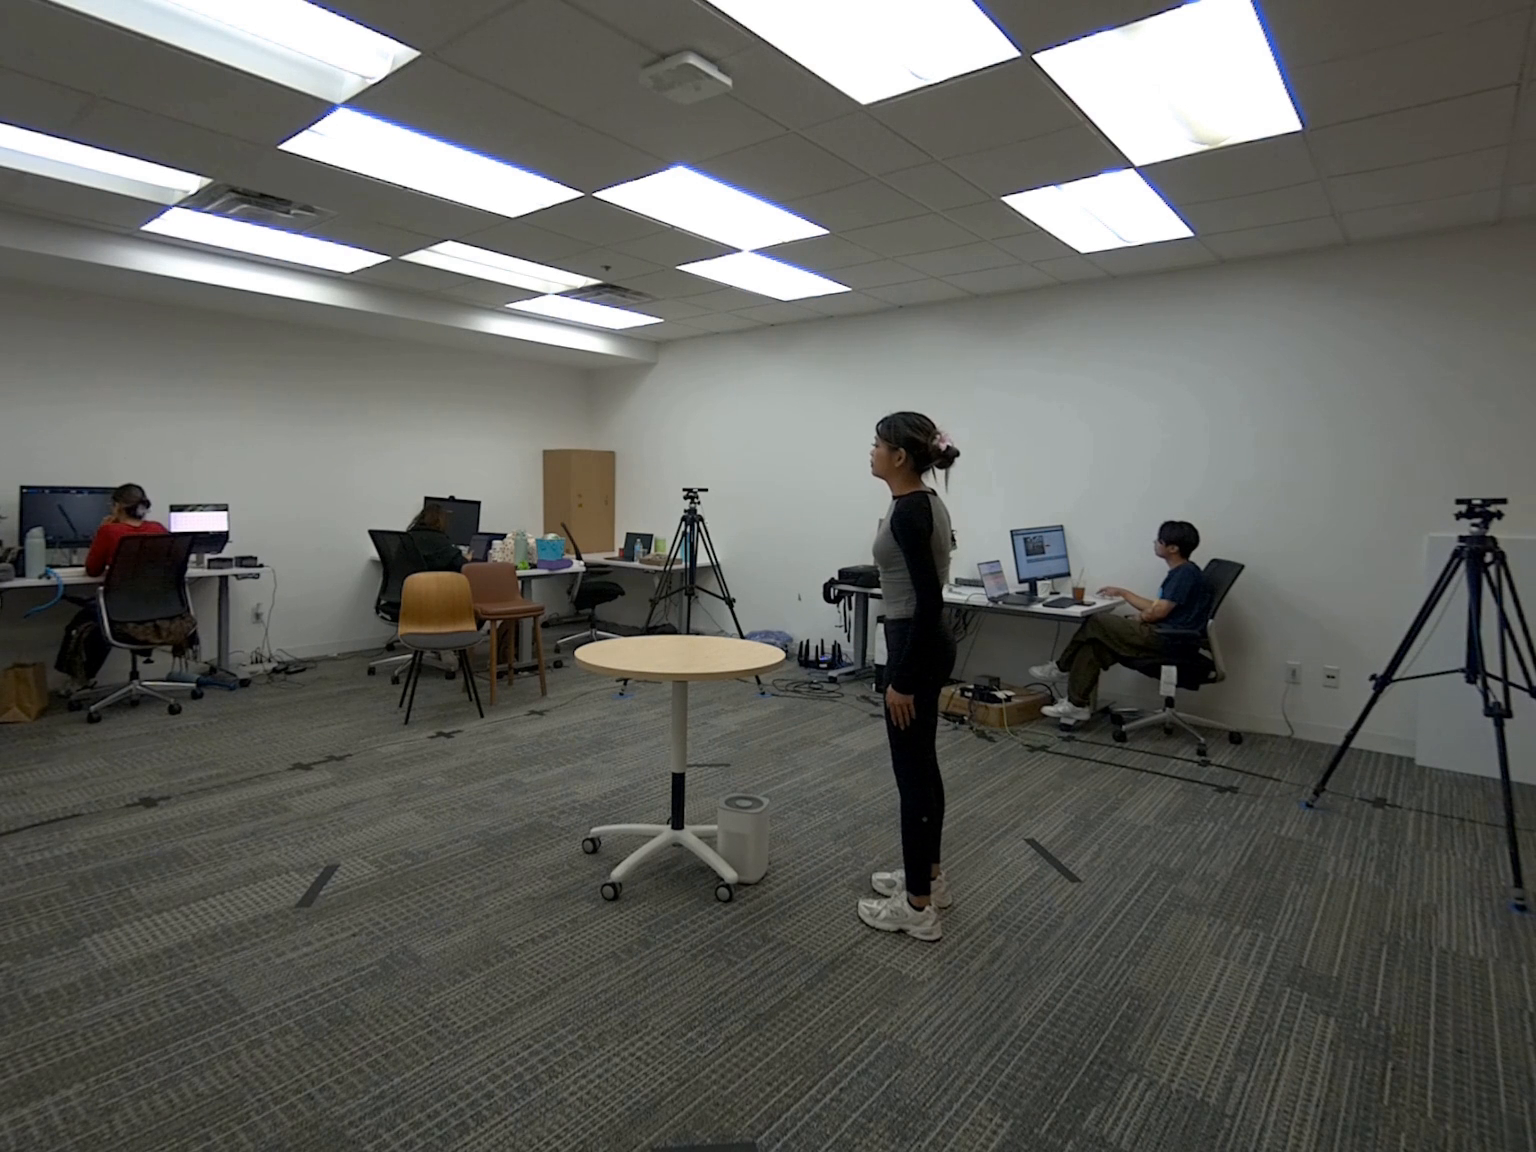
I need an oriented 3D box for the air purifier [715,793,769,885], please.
[{"bbox_3d":[-0.096,0.940,3.065,0.175,0.264,0.168,2,4,18],"label":"air purifier"}]
